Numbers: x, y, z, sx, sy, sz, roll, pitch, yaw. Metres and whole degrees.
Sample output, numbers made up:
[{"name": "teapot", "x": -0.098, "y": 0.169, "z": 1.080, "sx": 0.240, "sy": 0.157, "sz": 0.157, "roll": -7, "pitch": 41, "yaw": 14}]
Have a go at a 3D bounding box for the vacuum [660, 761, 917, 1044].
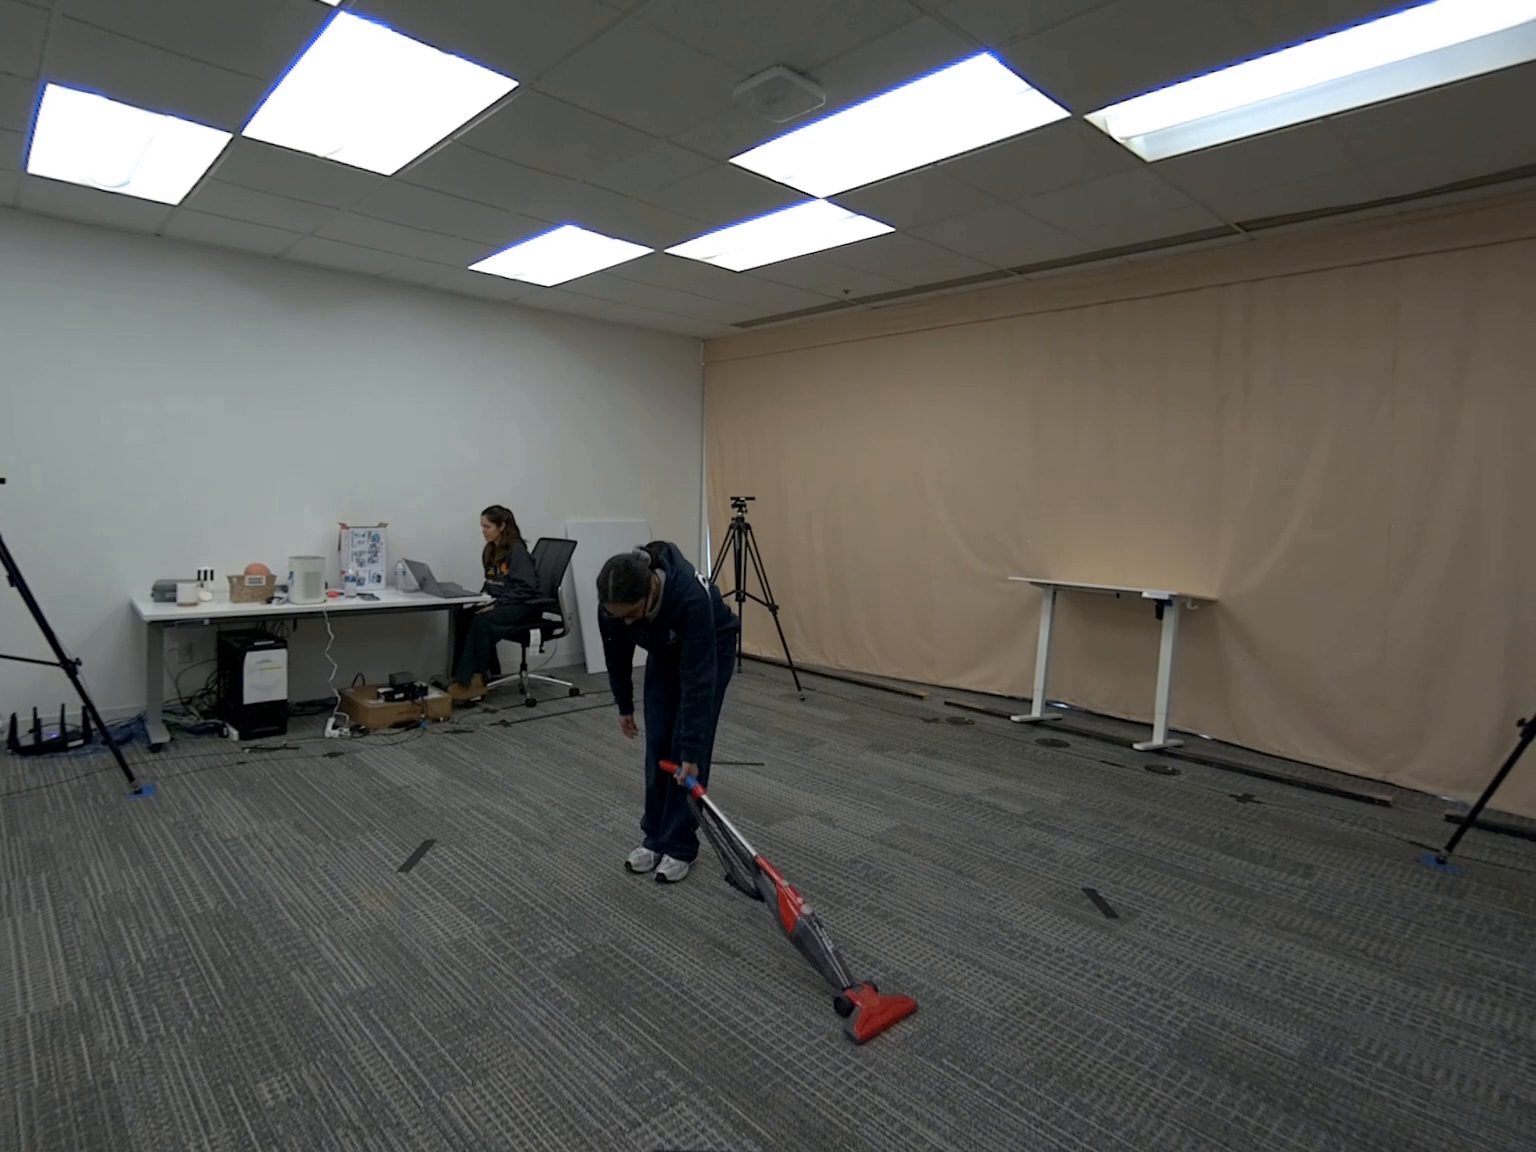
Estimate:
[{"name": "vacuum", "x": -0.033, "y": 0.932, "z": 2.631, "sx": 0.247, "sy": 0.142, "sz": 1.083, "roll": -7, "pitch": 31, "yaw": -40}]
